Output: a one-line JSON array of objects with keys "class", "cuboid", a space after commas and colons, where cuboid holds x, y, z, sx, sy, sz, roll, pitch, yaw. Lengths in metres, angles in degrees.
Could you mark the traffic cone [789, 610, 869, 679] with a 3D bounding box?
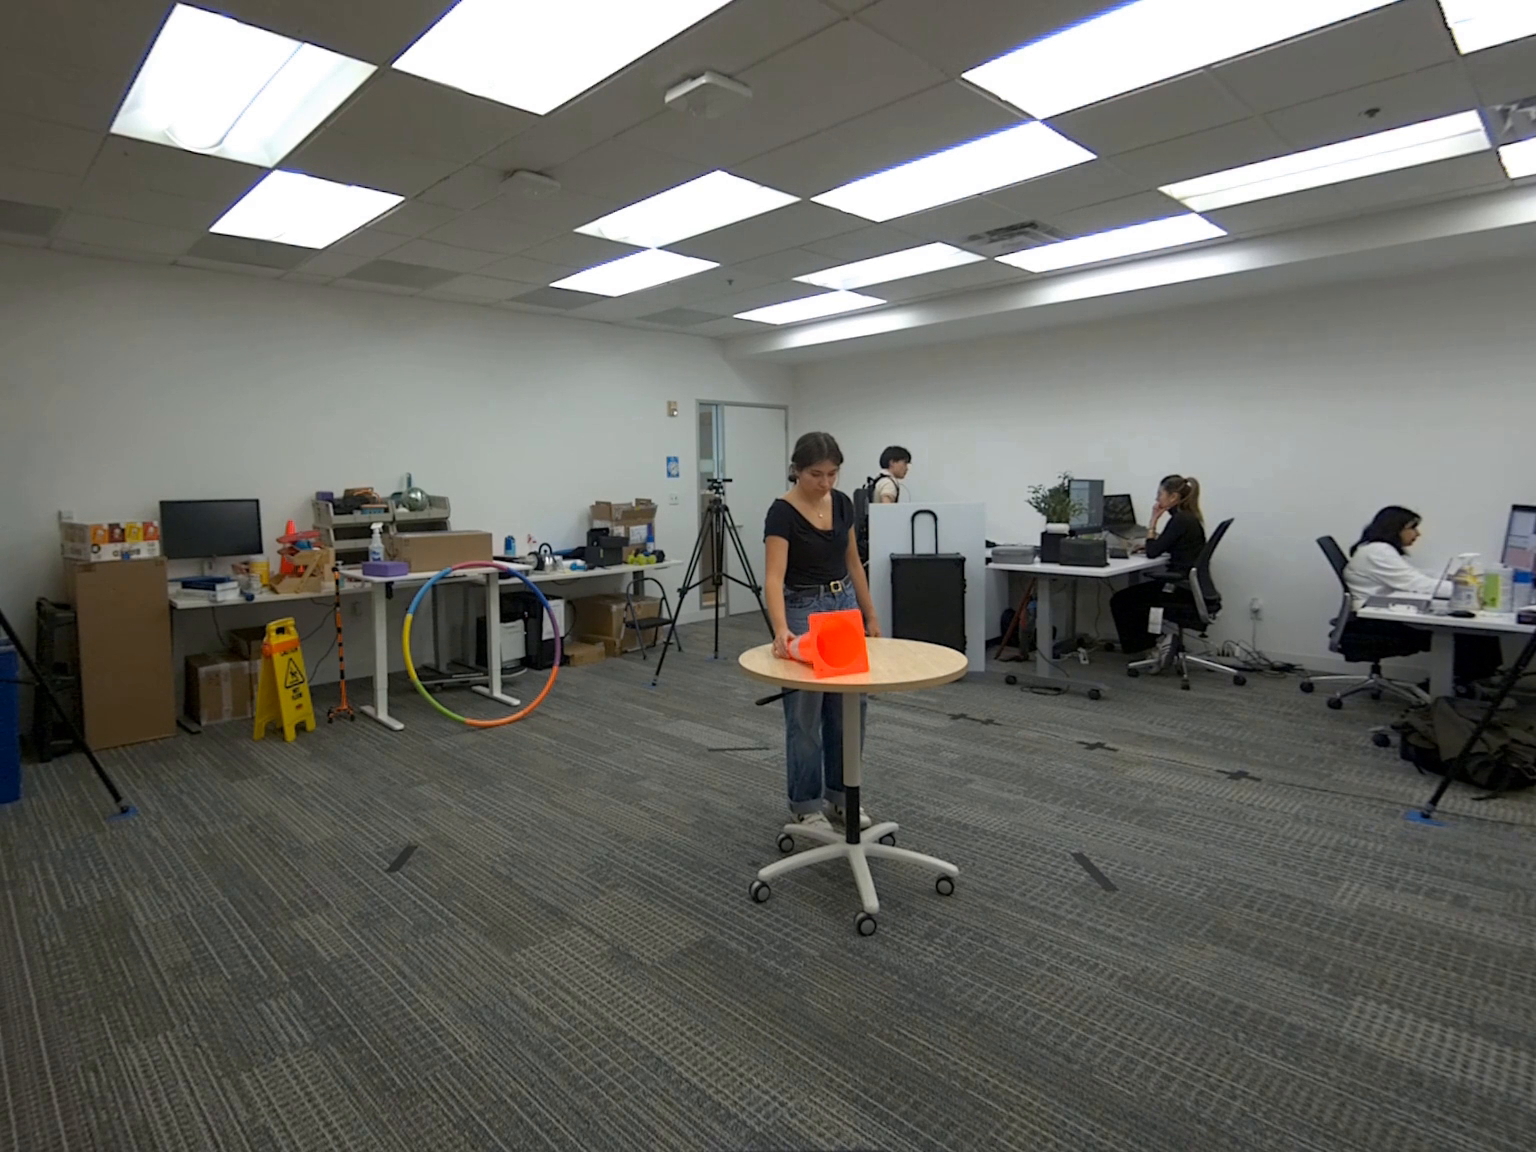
[{"class": "traffic cone", "cuboid": [0.137, 0.241, 2.833, 0.201, 0.205, 0.389, -2, -7, -25]}]
